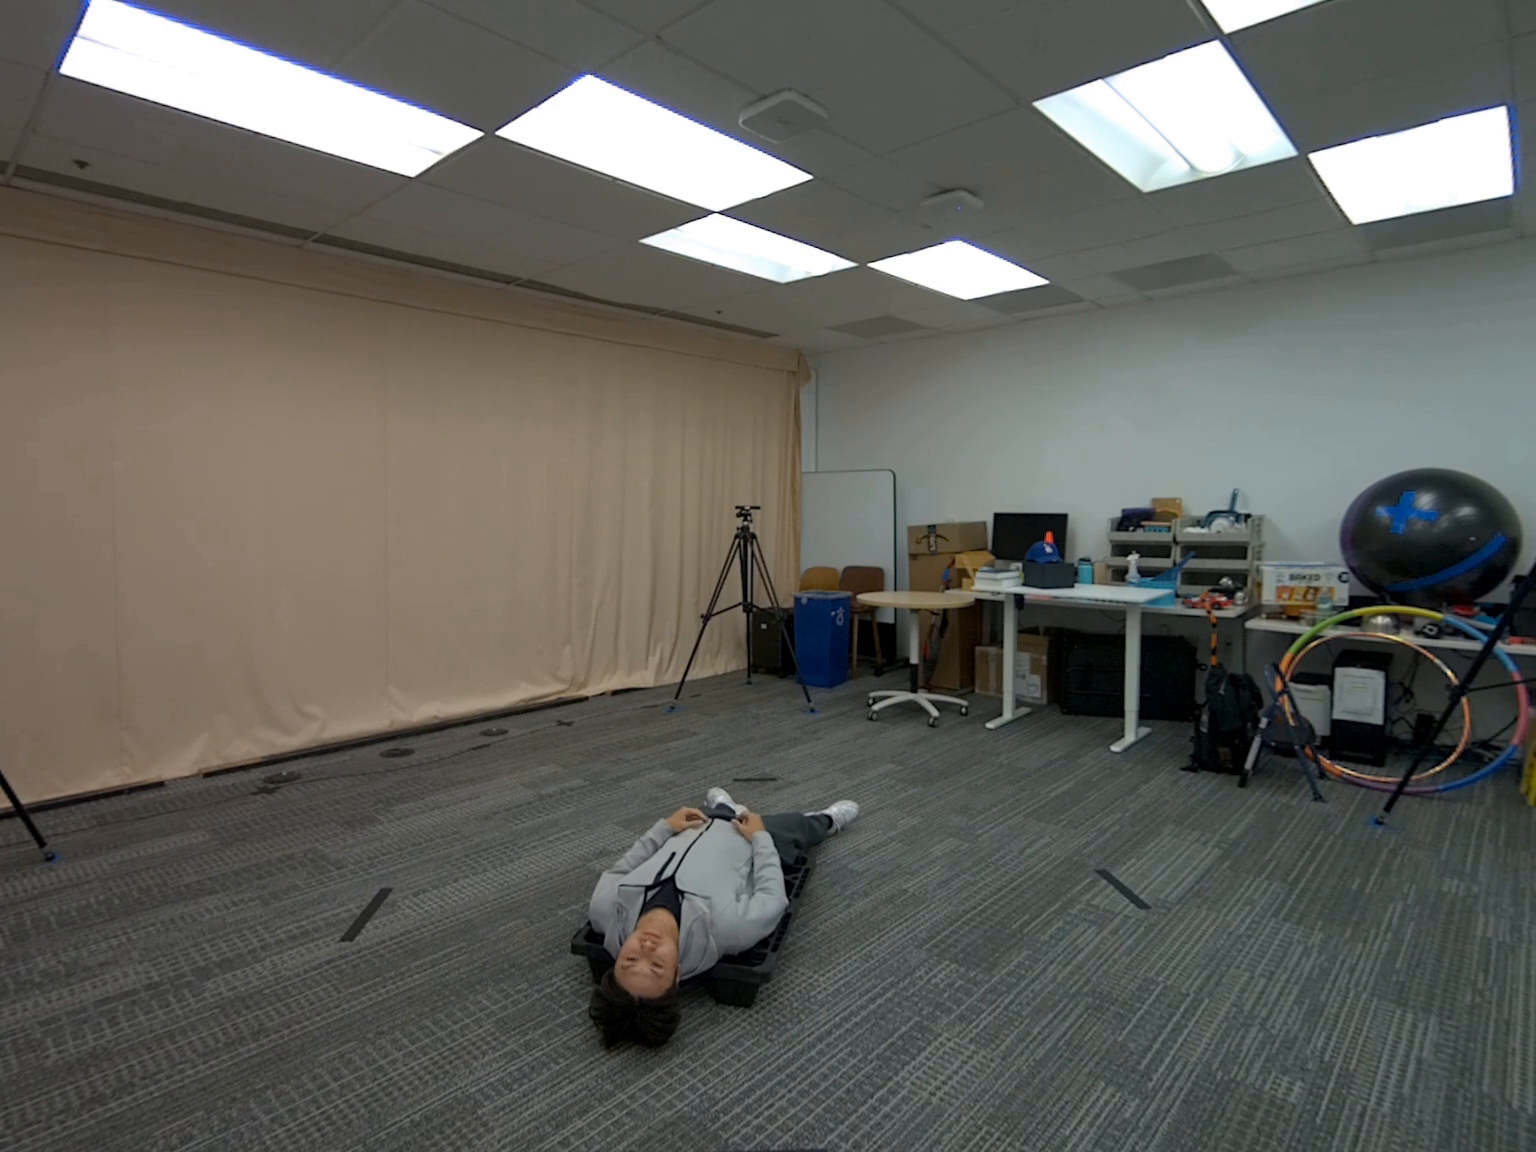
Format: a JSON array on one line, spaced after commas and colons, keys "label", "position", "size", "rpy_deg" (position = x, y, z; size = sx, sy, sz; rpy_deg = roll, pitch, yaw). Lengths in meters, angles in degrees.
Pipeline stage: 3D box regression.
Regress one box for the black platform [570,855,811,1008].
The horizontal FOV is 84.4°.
[{"label": "black platform", "position": [-0.200, 1.085, 2.739], "size": [0.616, 0.143, 0.795], "rpy_deg": [2, 7, 15]}]
